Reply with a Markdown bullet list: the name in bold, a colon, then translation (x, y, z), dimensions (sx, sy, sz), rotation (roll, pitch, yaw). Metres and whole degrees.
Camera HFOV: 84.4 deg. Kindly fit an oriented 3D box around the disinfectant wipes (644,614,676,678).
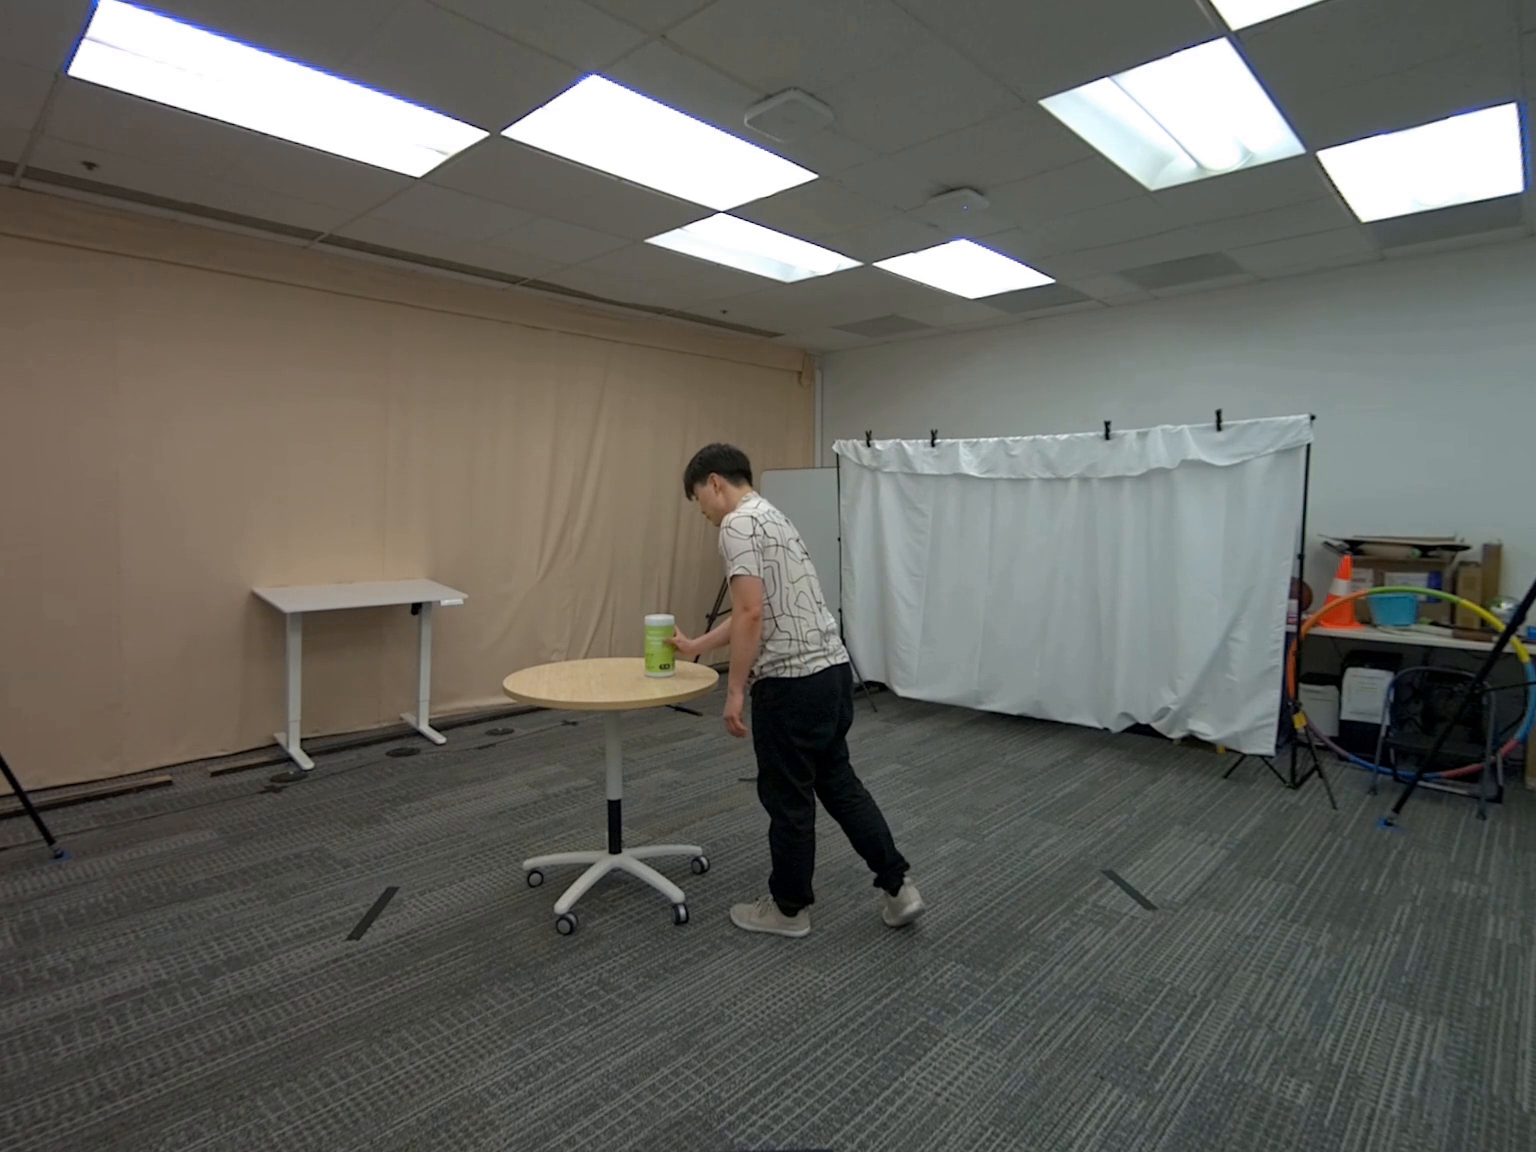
- **disinfectant wipes**: translation (-0.394, 0.255, 3.052), dimensions (0.118, 0.217, 0.118), rotation (-1, 3, -2)
